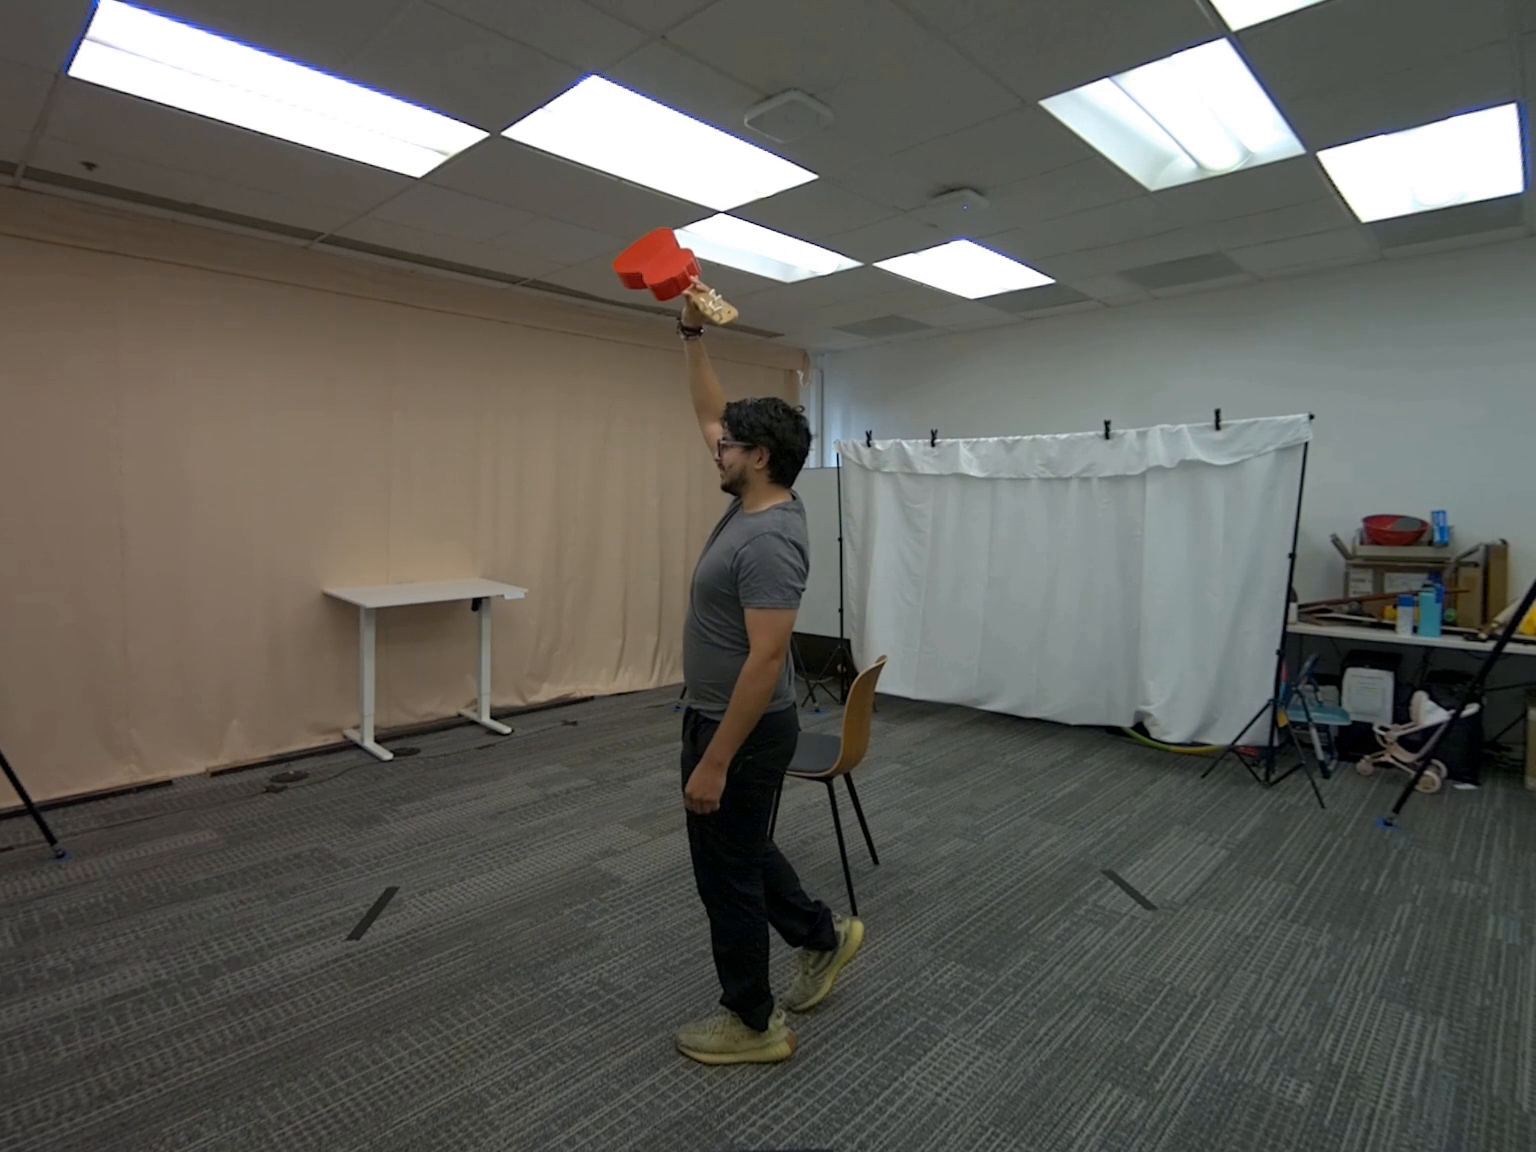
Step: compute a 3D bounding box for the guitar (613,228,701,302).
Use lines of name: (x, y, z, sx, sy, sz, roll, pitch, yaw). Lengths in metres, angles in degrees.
guitar: (-0.201, -0.786, 2.188, 0.516, 0.192, 0.068, 37, -15, 40)
